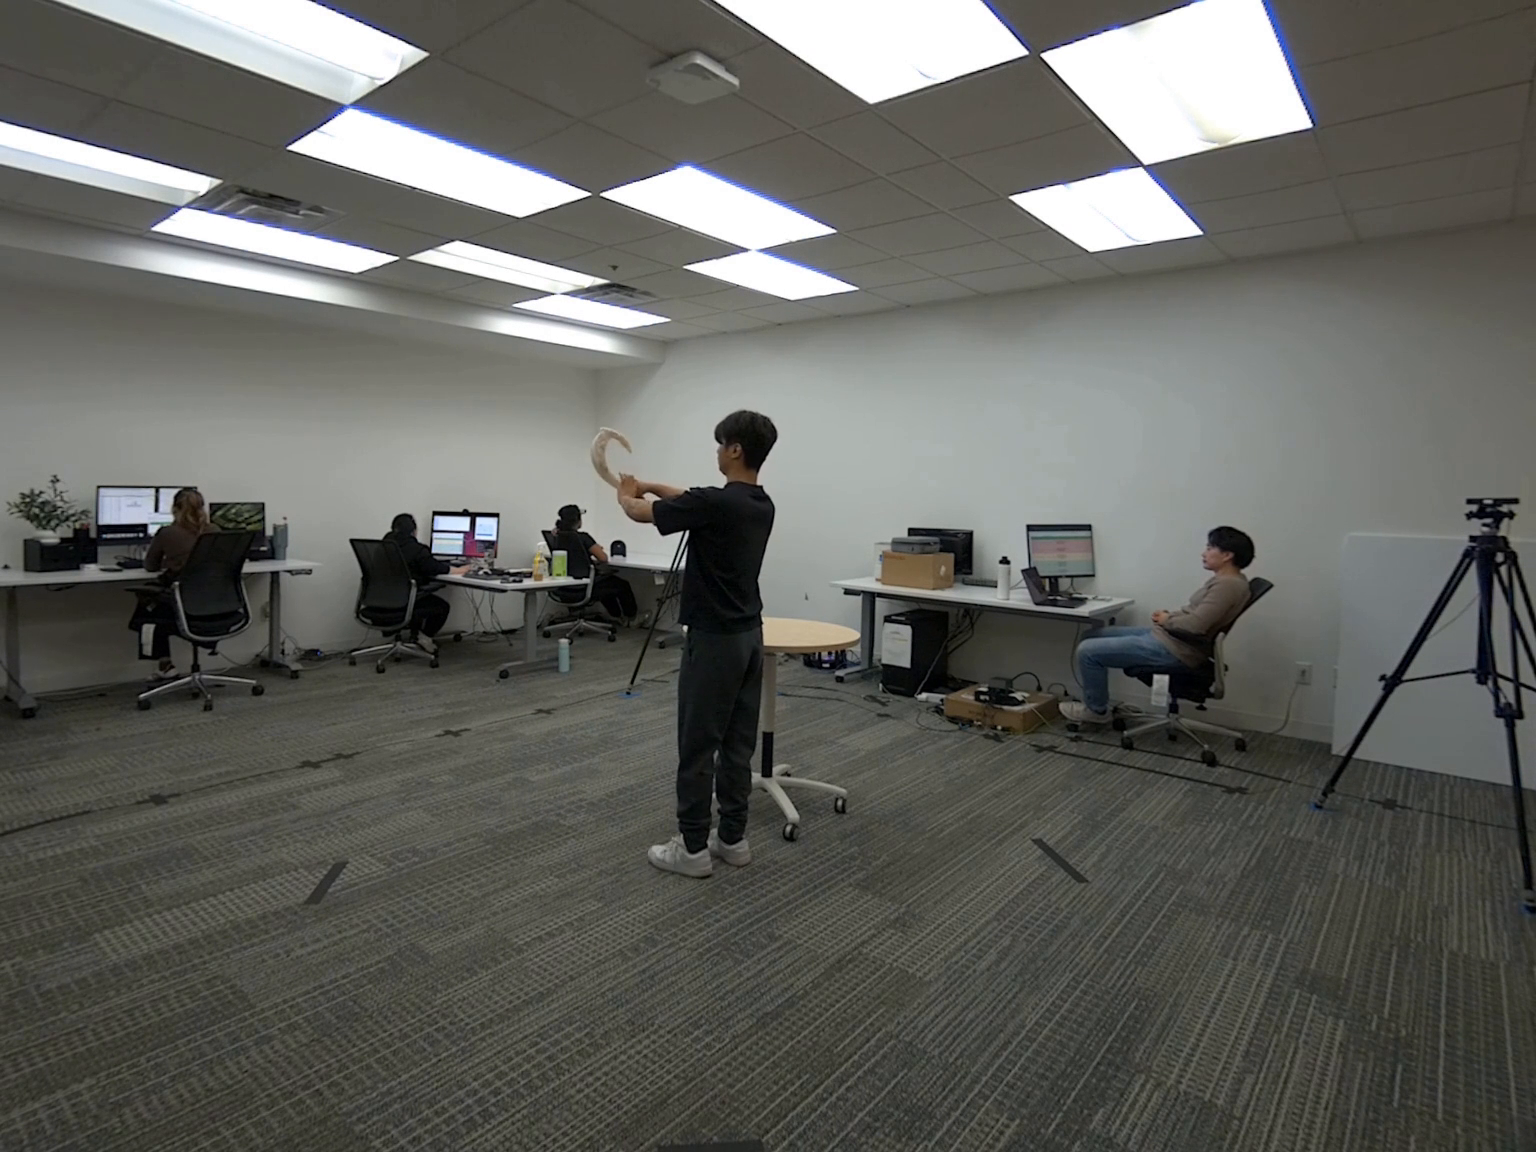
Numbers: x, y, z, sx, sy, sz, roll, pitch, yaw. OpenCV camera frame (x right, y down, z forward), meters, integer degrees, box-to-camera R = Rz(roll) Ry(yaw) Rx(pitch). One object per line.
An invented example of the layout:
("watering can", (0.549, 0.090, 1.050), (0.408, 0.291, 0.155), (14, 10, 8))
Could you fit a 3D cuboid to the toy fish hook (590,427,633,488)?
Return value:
("toy fish hook", (-0.575, -0.409, 3.502), (0.050, 0.227, 0.486), (2, -35, 34))
